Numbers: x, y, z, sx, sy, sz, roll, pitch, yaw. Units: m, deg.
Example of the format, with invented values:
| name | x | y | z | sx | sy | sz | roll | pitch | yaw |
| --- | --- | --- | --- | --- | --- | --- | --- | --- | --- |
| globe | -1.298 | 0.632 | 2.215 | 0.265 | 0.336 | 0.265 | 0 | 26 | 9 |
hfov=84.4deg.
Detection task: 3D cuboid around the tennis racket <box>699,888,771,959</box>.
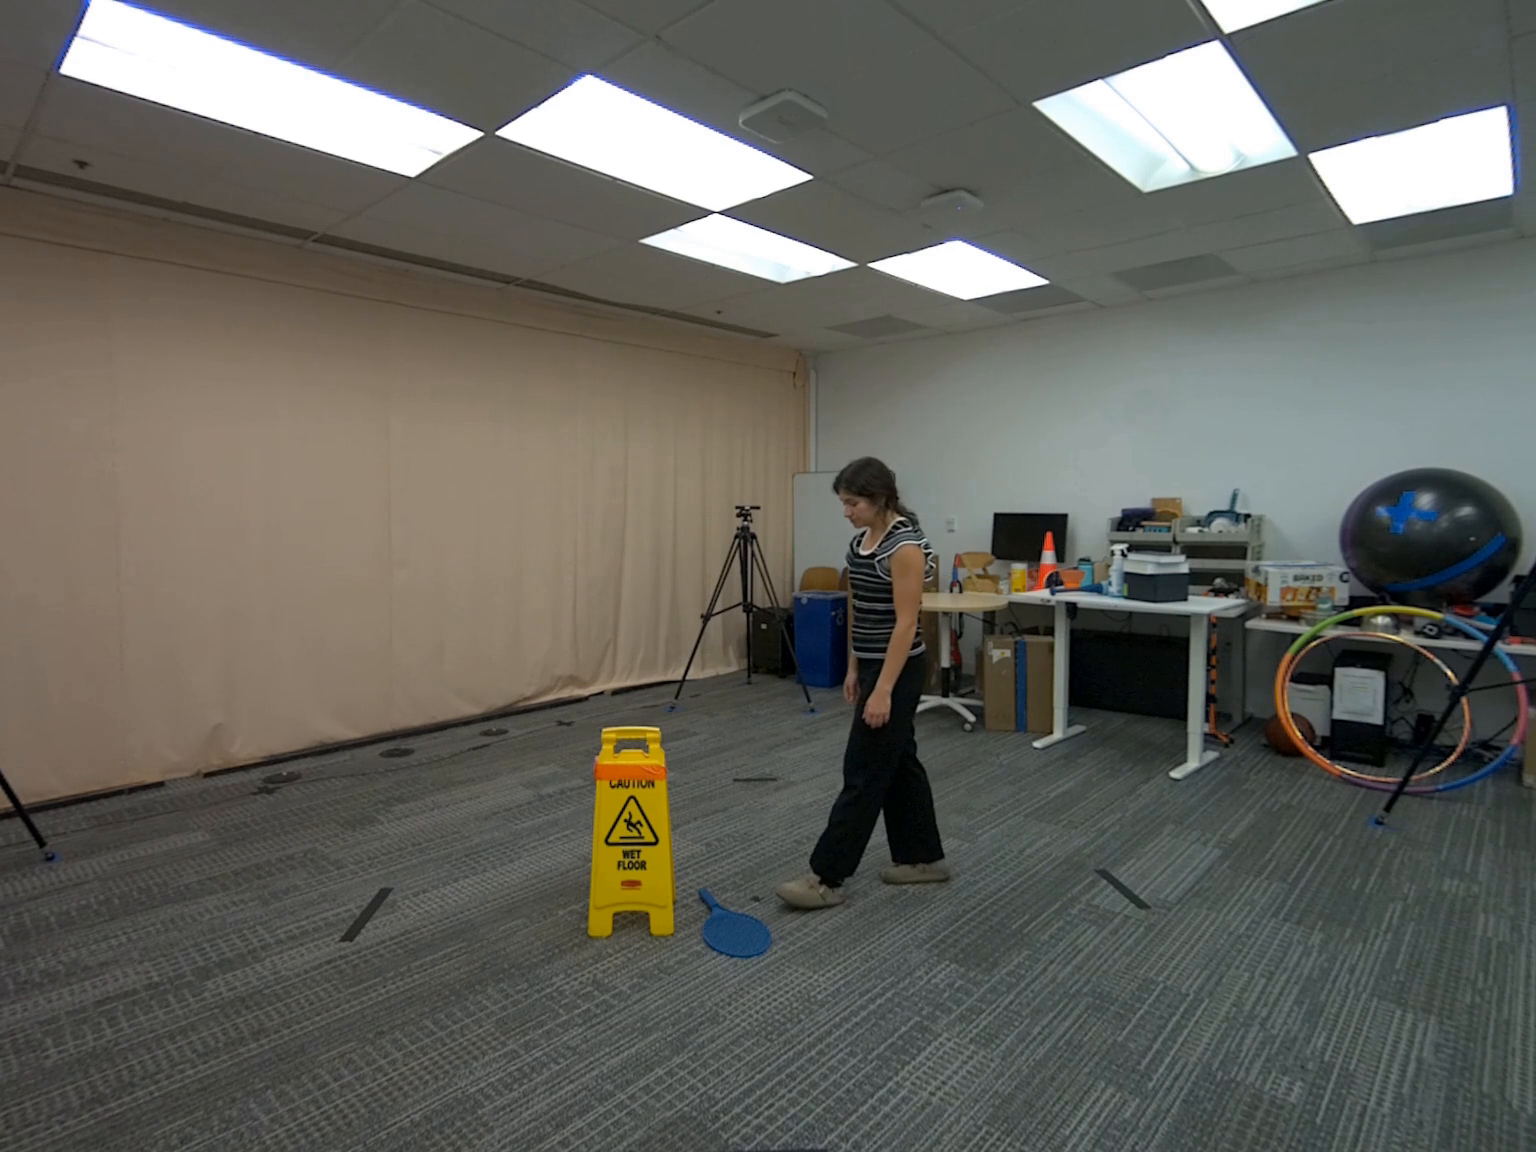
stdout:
| name | x | y | z | sx | sy | sz | roll | pitch | yaw |
| --- | --- | --- | --- | --- | --- | --- | --- | --- | --- |
| tennis racket | -0.135 | 1.142 | 2.798 | 0.209 | 0.031 | 0.444 | -3 | 7 | -24 |
